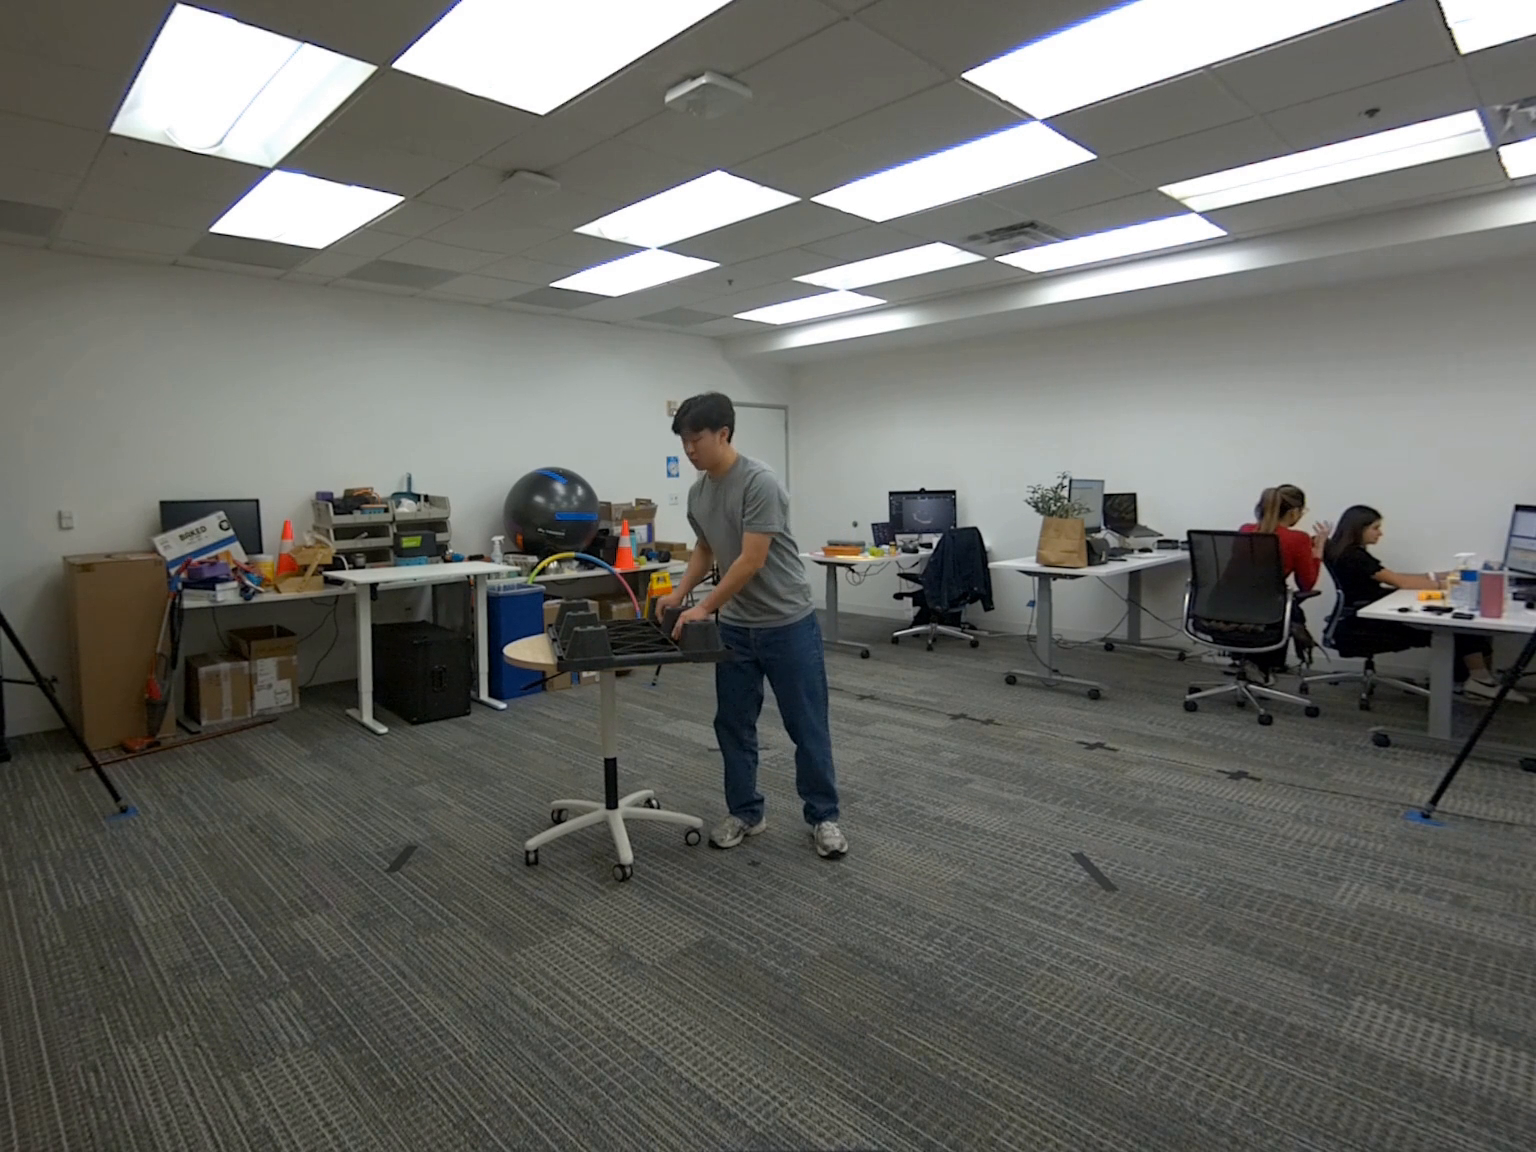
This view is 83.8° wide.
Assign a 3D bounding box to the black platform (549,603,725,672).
[{"bbox_3d":[-0.504,0.192,3.199,0.597,0.142,0.821,-3,7,-16],"label":"black platform"}]
